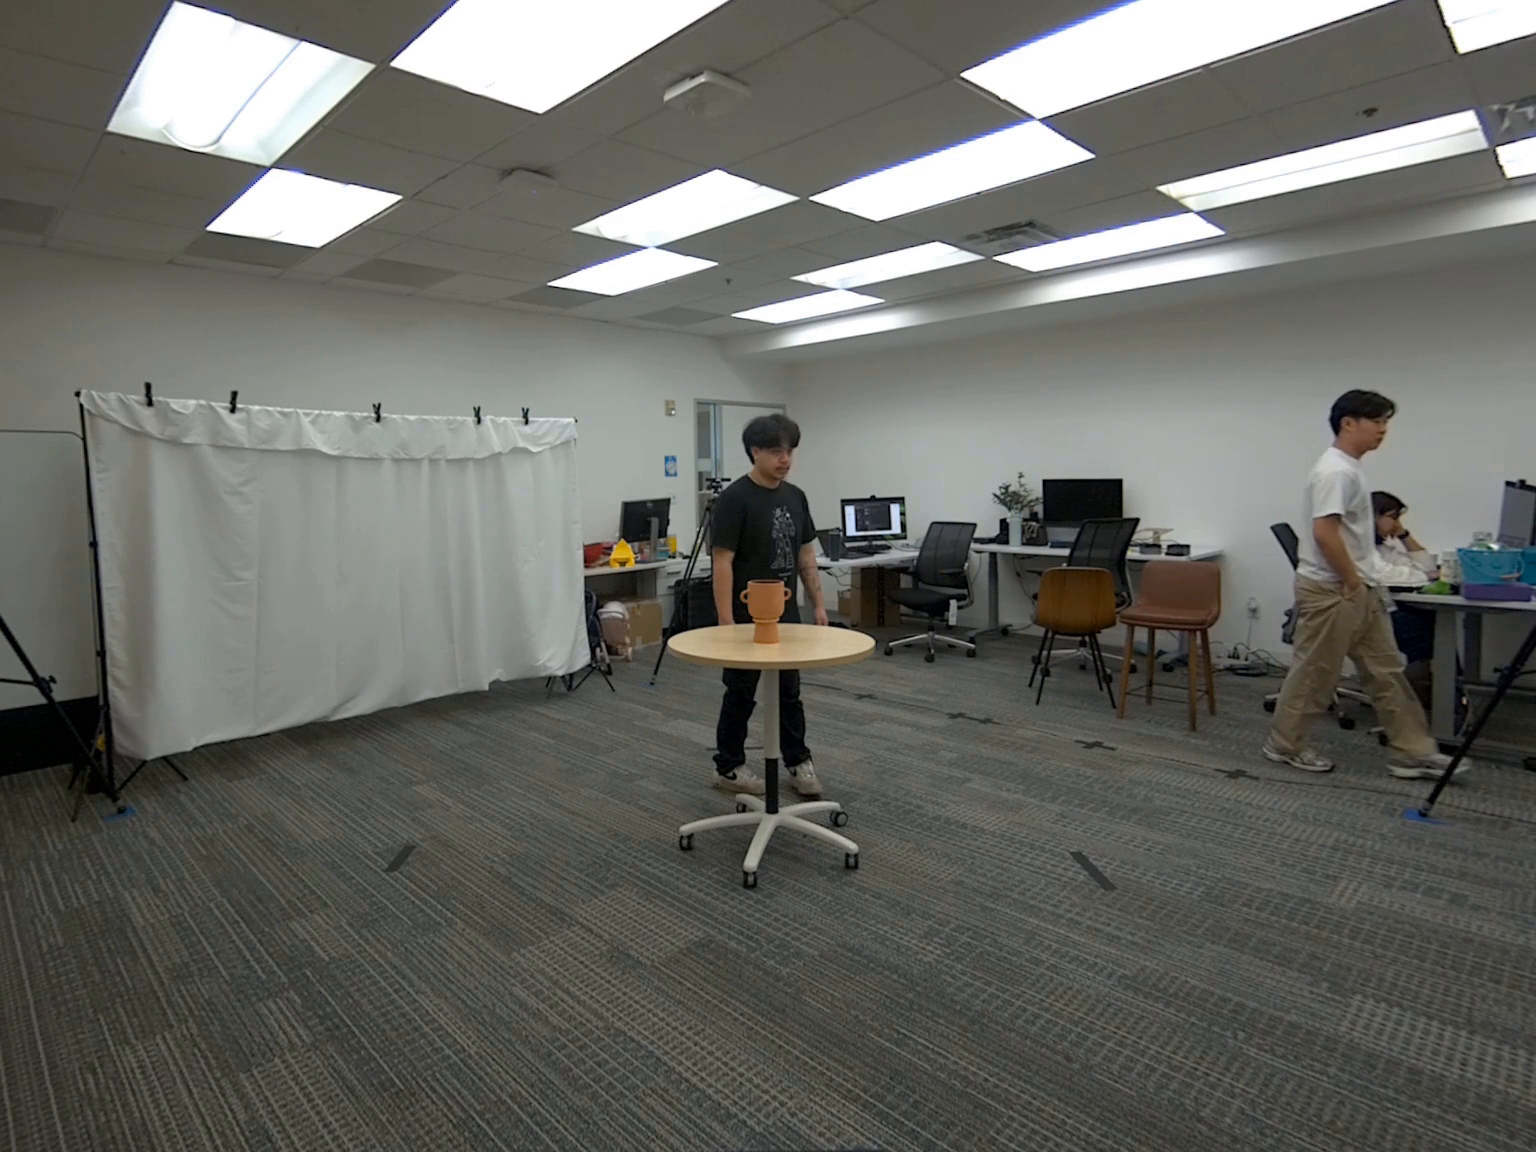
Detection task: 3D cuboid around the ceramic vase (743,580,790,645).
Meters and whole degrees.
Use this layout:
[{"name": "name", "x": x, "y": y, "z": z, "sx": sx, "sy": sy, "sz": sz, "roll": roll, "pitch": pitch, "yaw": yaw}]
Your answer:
[{"name": "ceramic vase", "x": -0.010, "y": 0.134, "z": 3.156, "sx": 0.162, "sy": 0.219, "sz": 0.133, "roll": 1, "pitch": 5, "yaw": 18}]
